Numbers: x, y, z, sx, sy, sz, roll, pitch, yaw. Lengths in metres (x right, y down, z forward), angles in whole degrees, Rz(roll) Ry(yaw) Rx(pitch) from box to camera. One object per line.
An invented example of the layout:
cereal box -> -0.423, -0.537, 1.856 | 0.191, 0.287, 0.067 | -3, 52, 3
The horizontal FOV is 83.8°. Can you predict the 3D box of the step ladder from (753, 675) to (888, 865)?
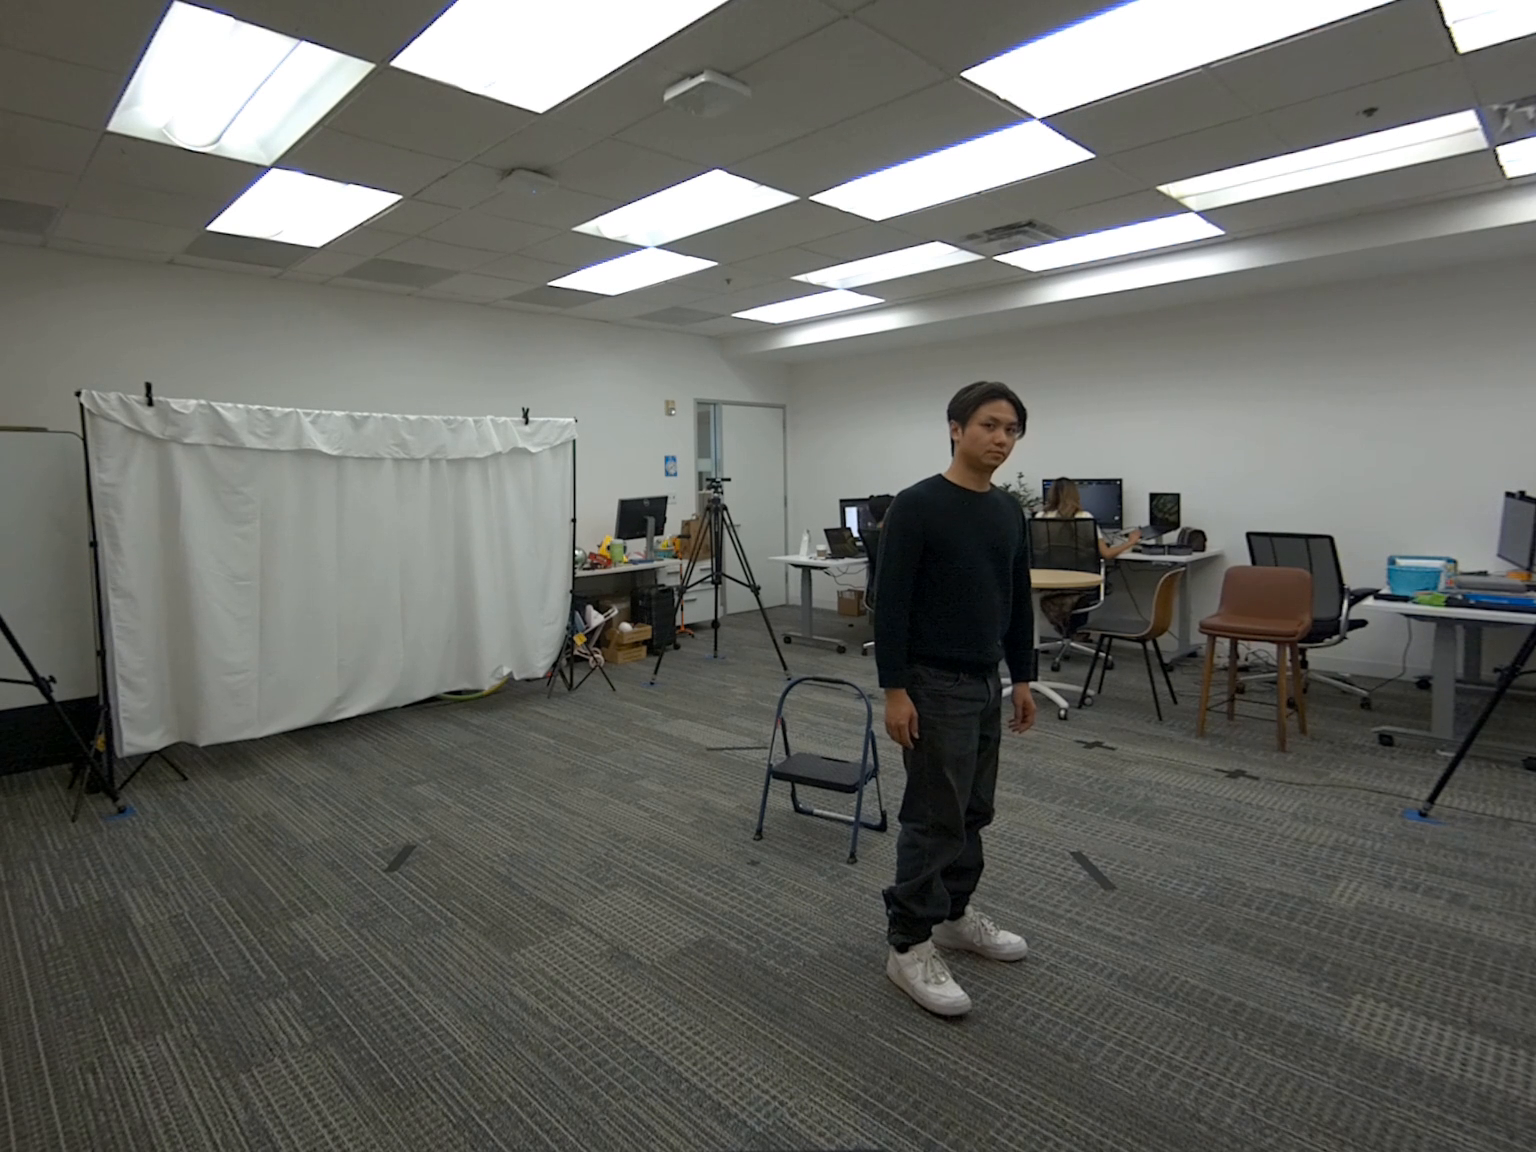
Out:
step ladder -> 0.208, 0.709, 3.319 | 0.442, 0.603, 0.341 | 2, 5, 32
